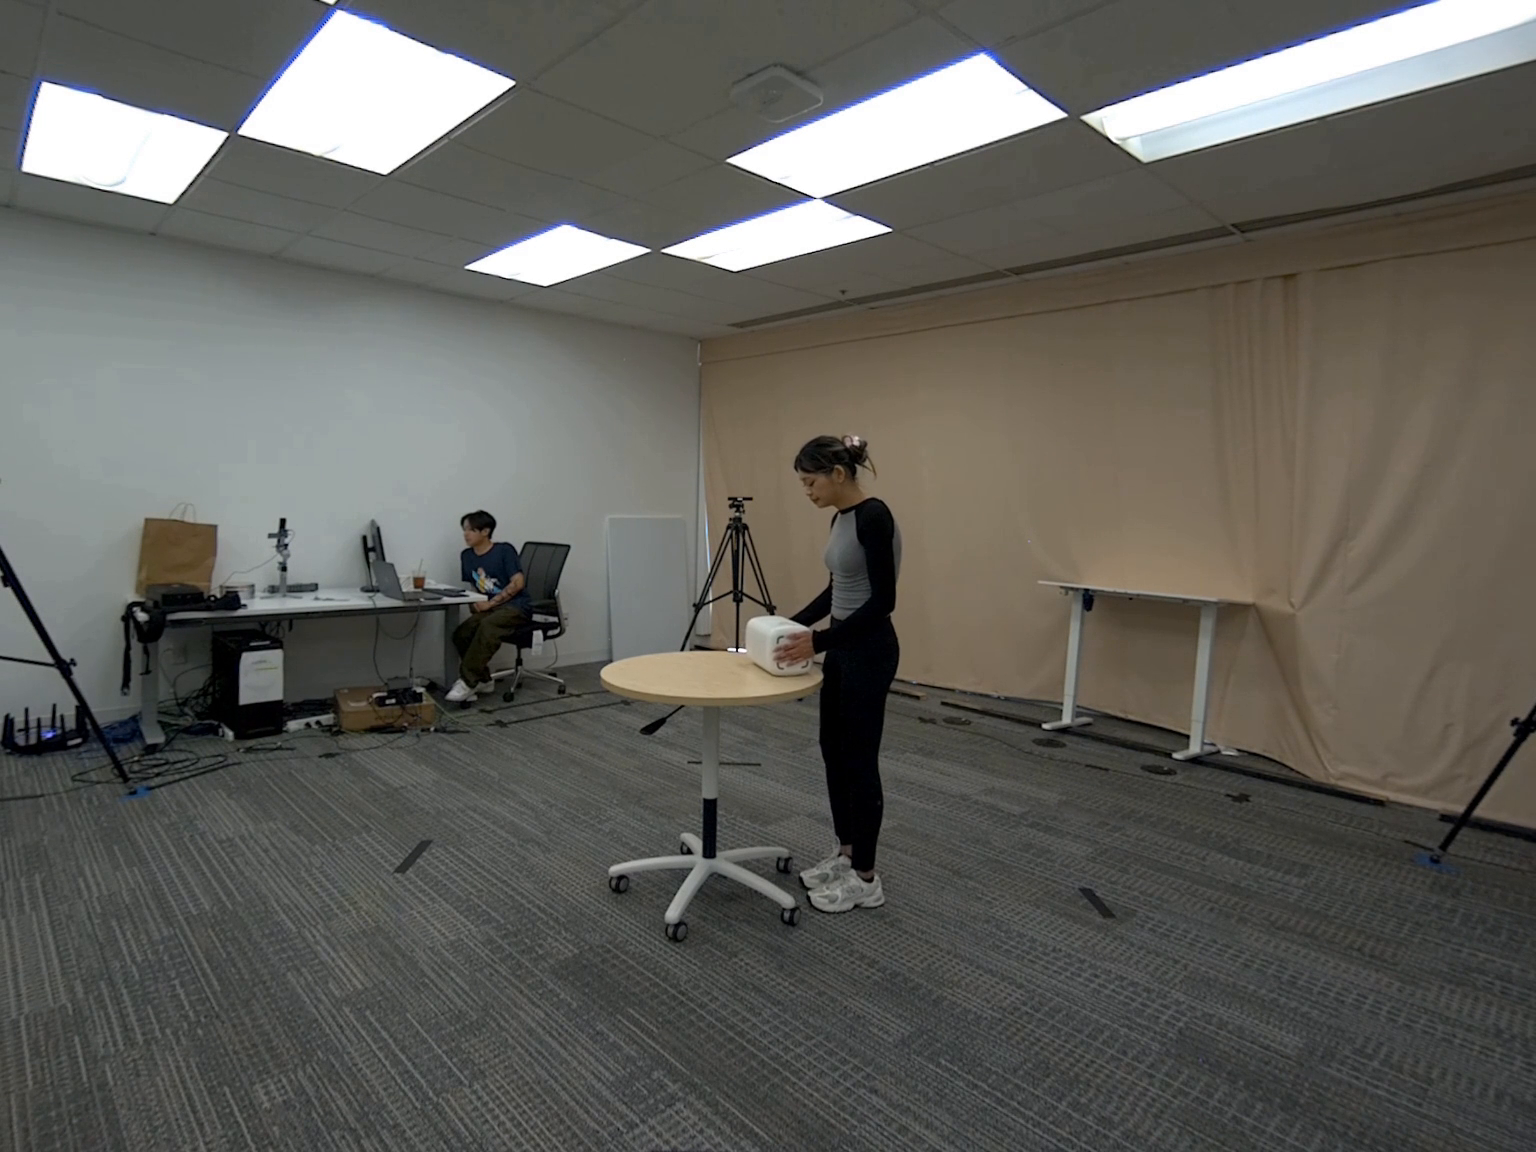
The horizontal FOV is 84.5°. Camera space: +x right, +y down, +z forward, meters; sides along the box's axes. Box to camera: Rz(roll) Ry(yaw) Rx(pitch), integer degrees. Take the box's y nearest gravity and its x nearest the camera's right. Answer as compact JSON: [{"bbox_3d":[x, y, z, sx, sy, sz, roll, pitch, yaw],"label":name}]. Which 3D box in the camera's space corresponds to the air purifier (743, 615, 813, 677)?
[{"bbox_3d":[0.033,0.243,2.948,0.169,0.171,0.270,0,5,-18],"label":"air purifier"}]
